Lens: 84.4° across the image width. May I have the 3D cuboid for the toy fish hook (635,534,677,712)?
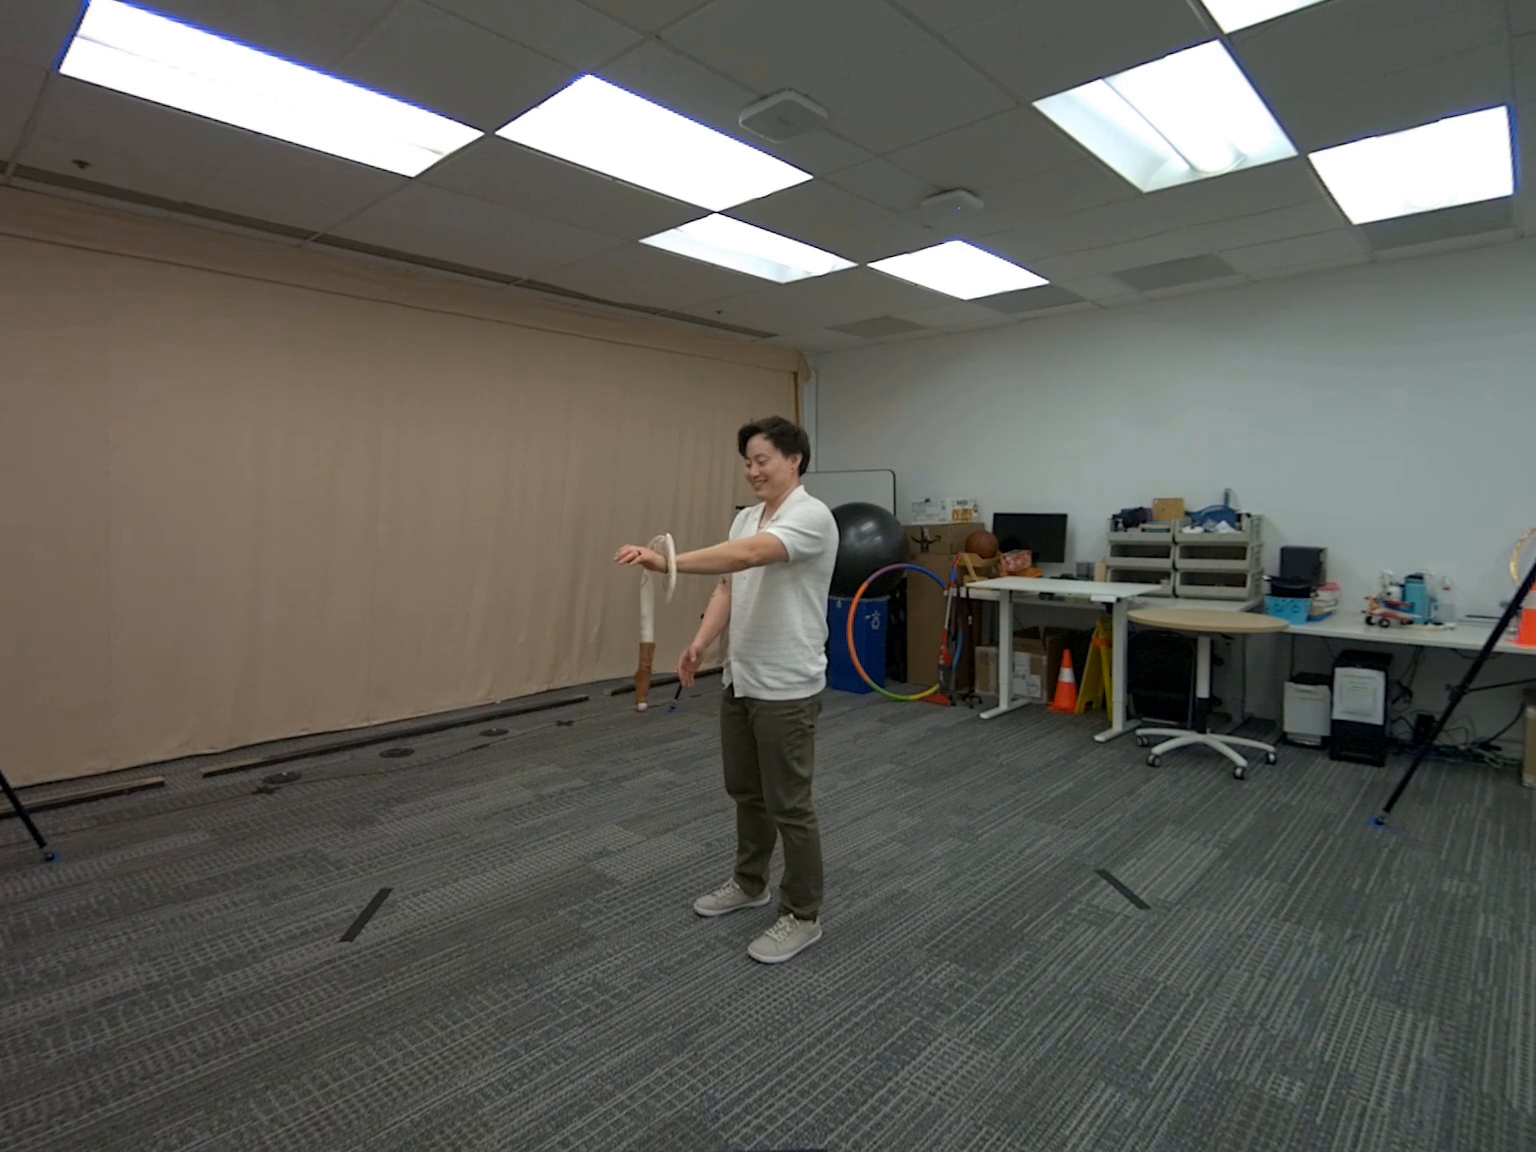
[{"bbox_3d":[-0.309,0.140,2.376,0.047,0.508,0.229,5,-6,-24],"label":"toy fish hook"}]
